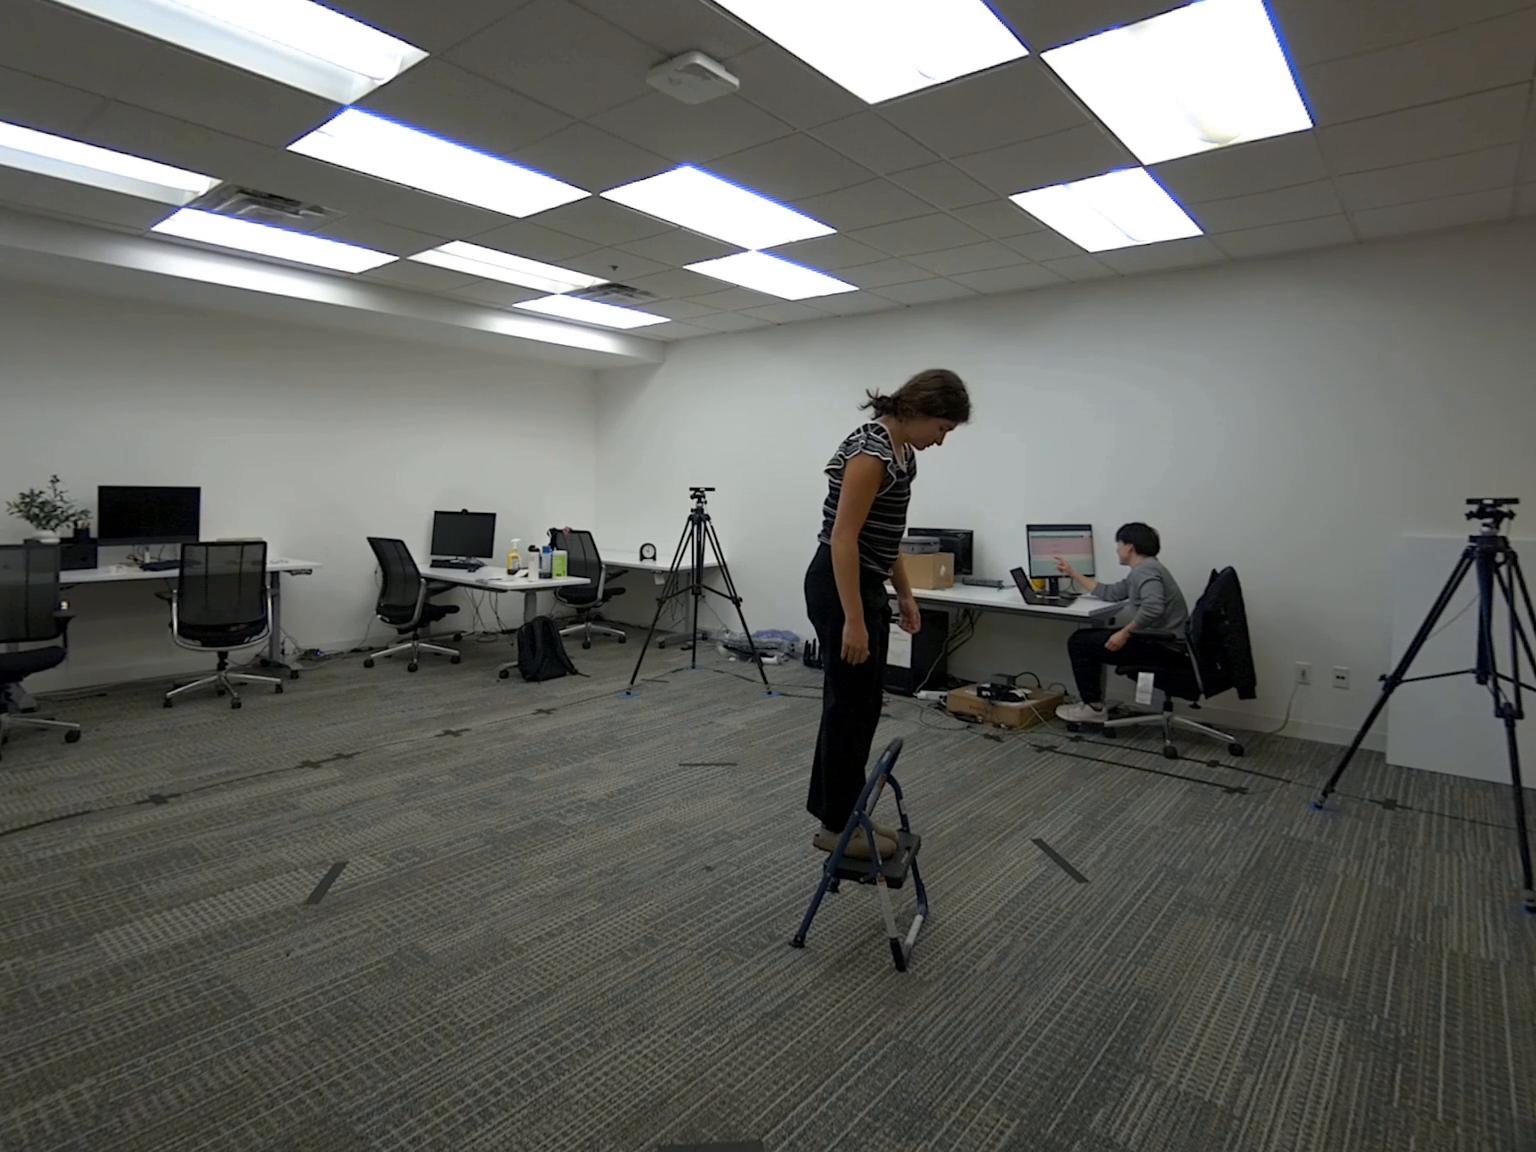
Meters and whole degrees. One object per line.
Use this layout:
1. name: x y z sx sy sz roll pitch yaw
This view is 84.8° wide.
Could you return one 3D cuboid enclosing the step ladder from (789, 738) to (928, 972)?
1. step ladder: 0.307 0.818 2.700 0.357 0.604 0.422 3 4 21
